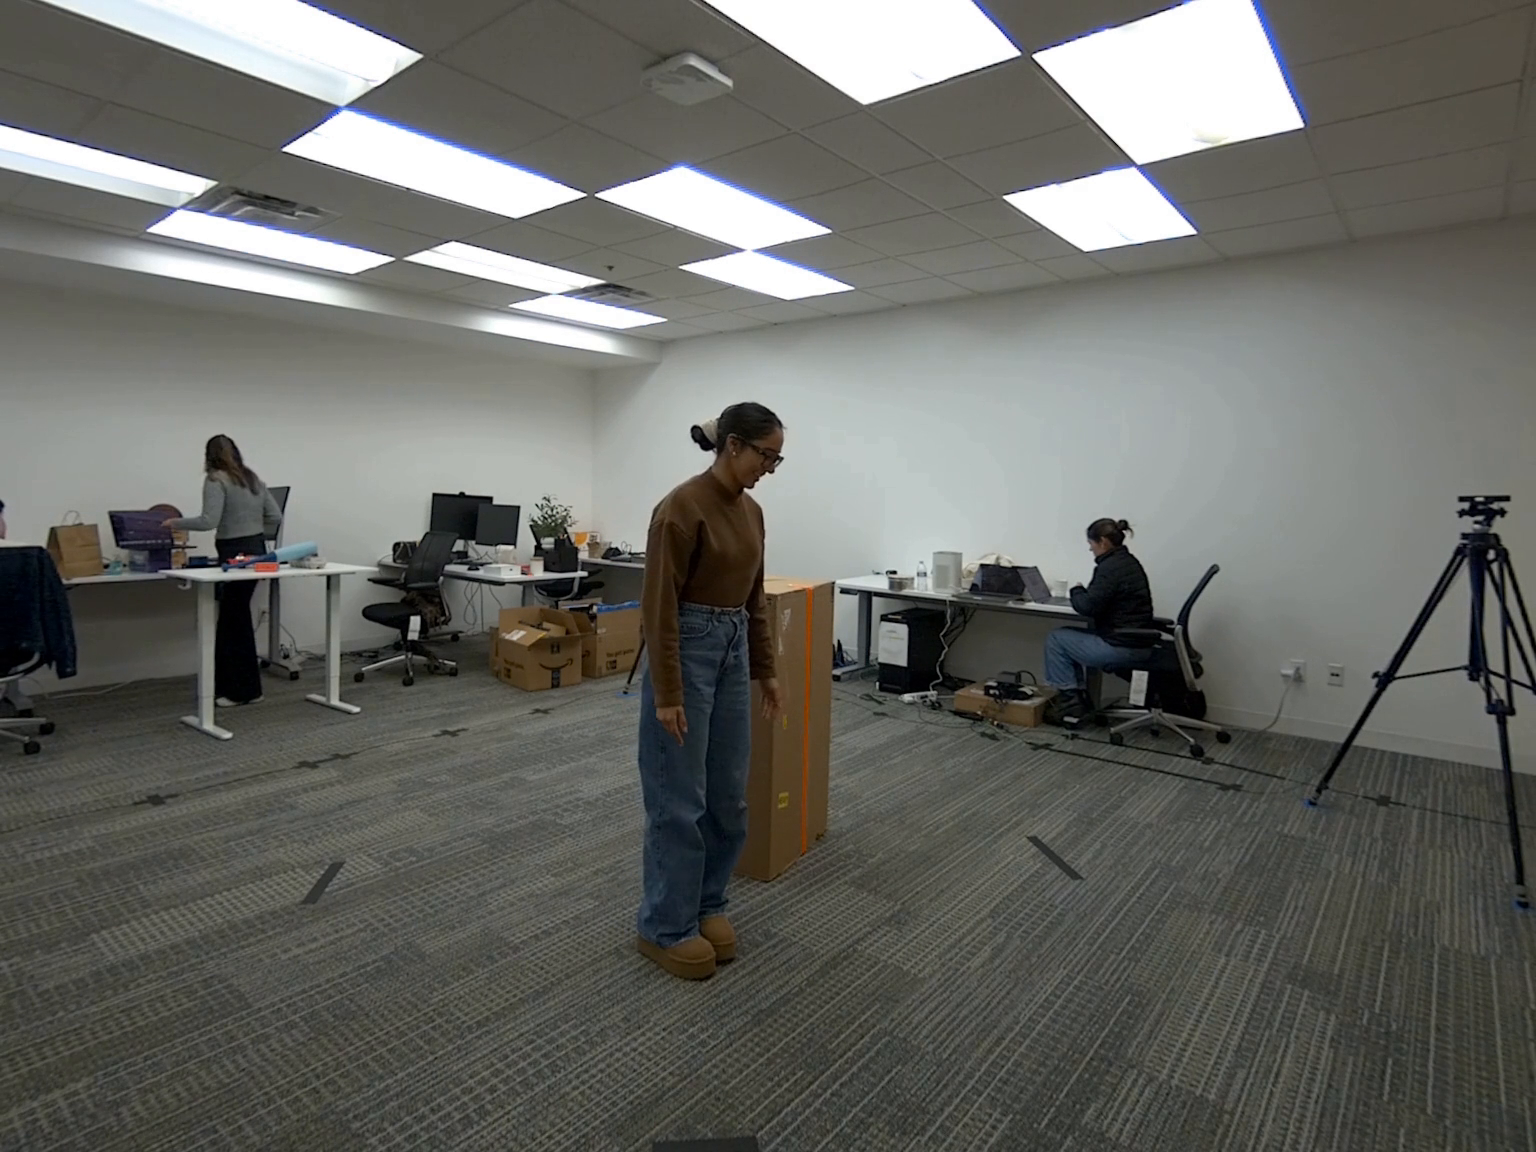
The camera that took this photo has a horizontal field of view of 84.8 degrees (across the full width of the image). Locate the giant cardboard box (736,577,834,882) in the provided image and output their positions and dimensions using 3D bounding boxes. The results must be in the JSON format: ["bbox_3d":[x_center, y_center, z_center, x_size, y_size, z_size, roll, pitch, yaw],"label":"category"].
[{"bbox_3d":[-0.055,0.540,3.323,0.459,1.025,0.570,2,3,26],"label":"giant cardboard box"}]
